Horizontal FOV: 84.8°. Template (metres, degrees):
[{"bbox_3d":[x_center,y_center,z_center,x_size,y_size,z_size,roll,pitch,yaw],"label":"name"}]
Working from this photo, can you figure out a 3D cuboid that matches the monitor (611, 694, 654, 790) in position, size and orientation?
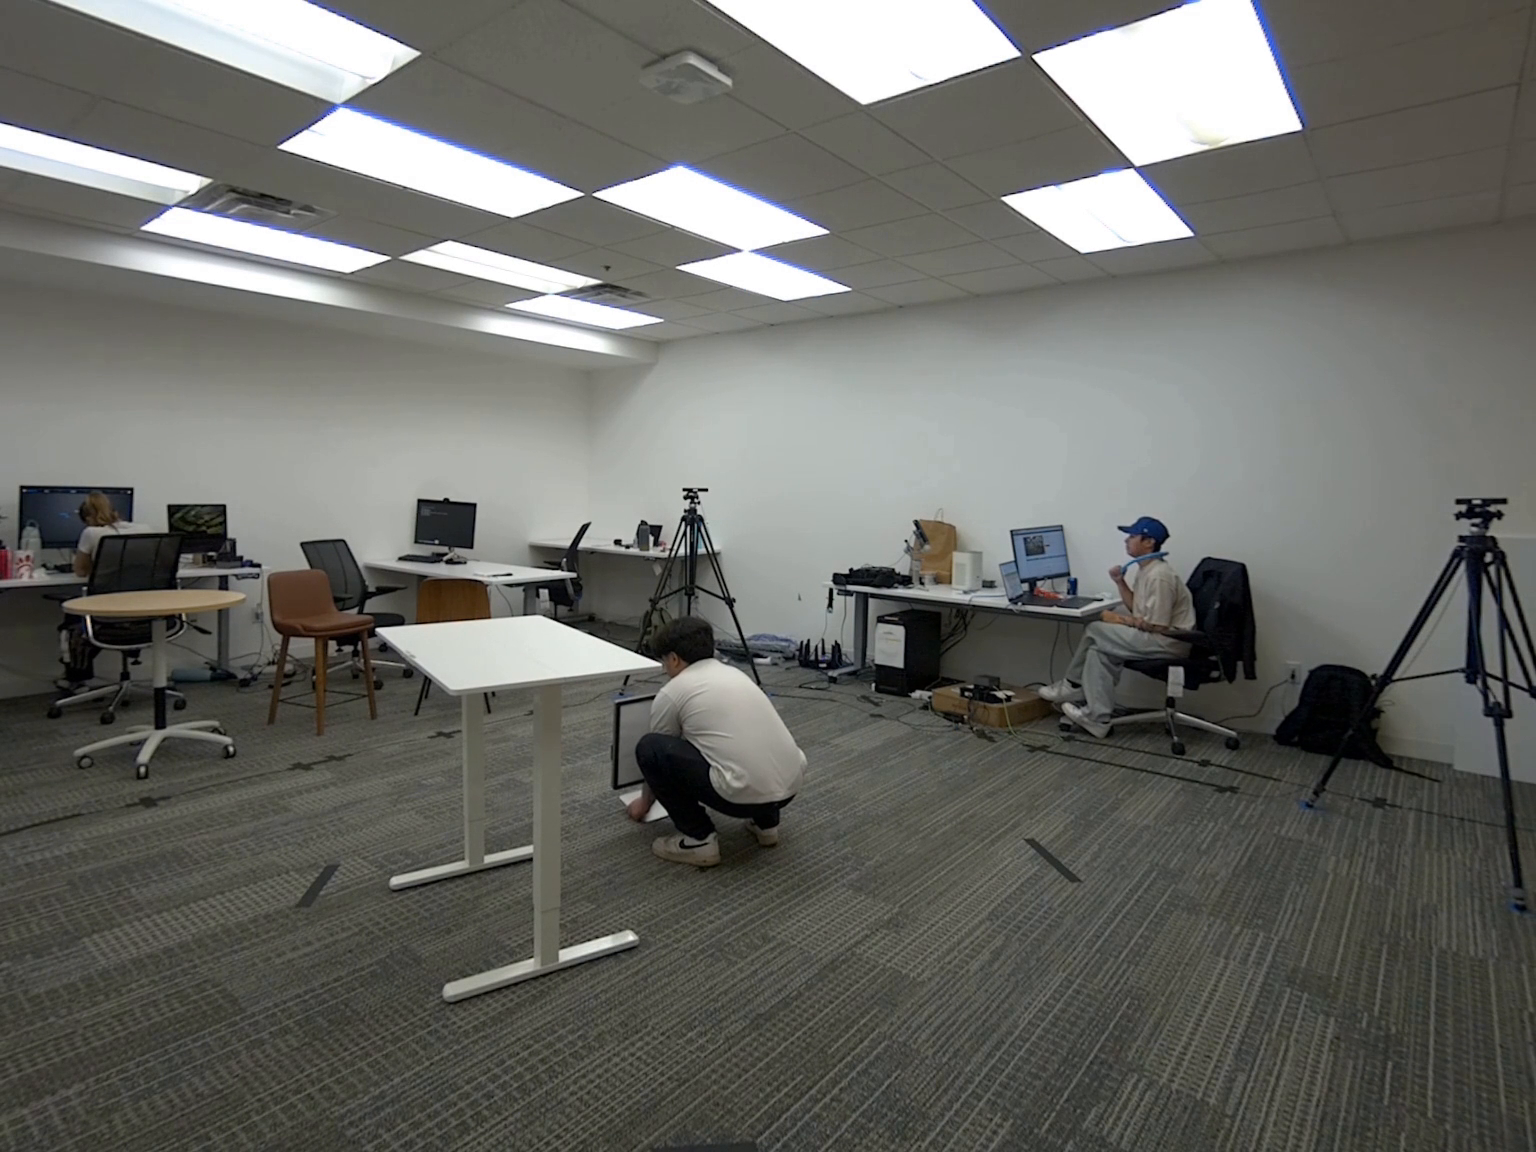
[{"bbox_3d":[-0.475,0.727,3.635,0.549,0.549,0.218,-4,15,-42],"label":"monitor"}]
